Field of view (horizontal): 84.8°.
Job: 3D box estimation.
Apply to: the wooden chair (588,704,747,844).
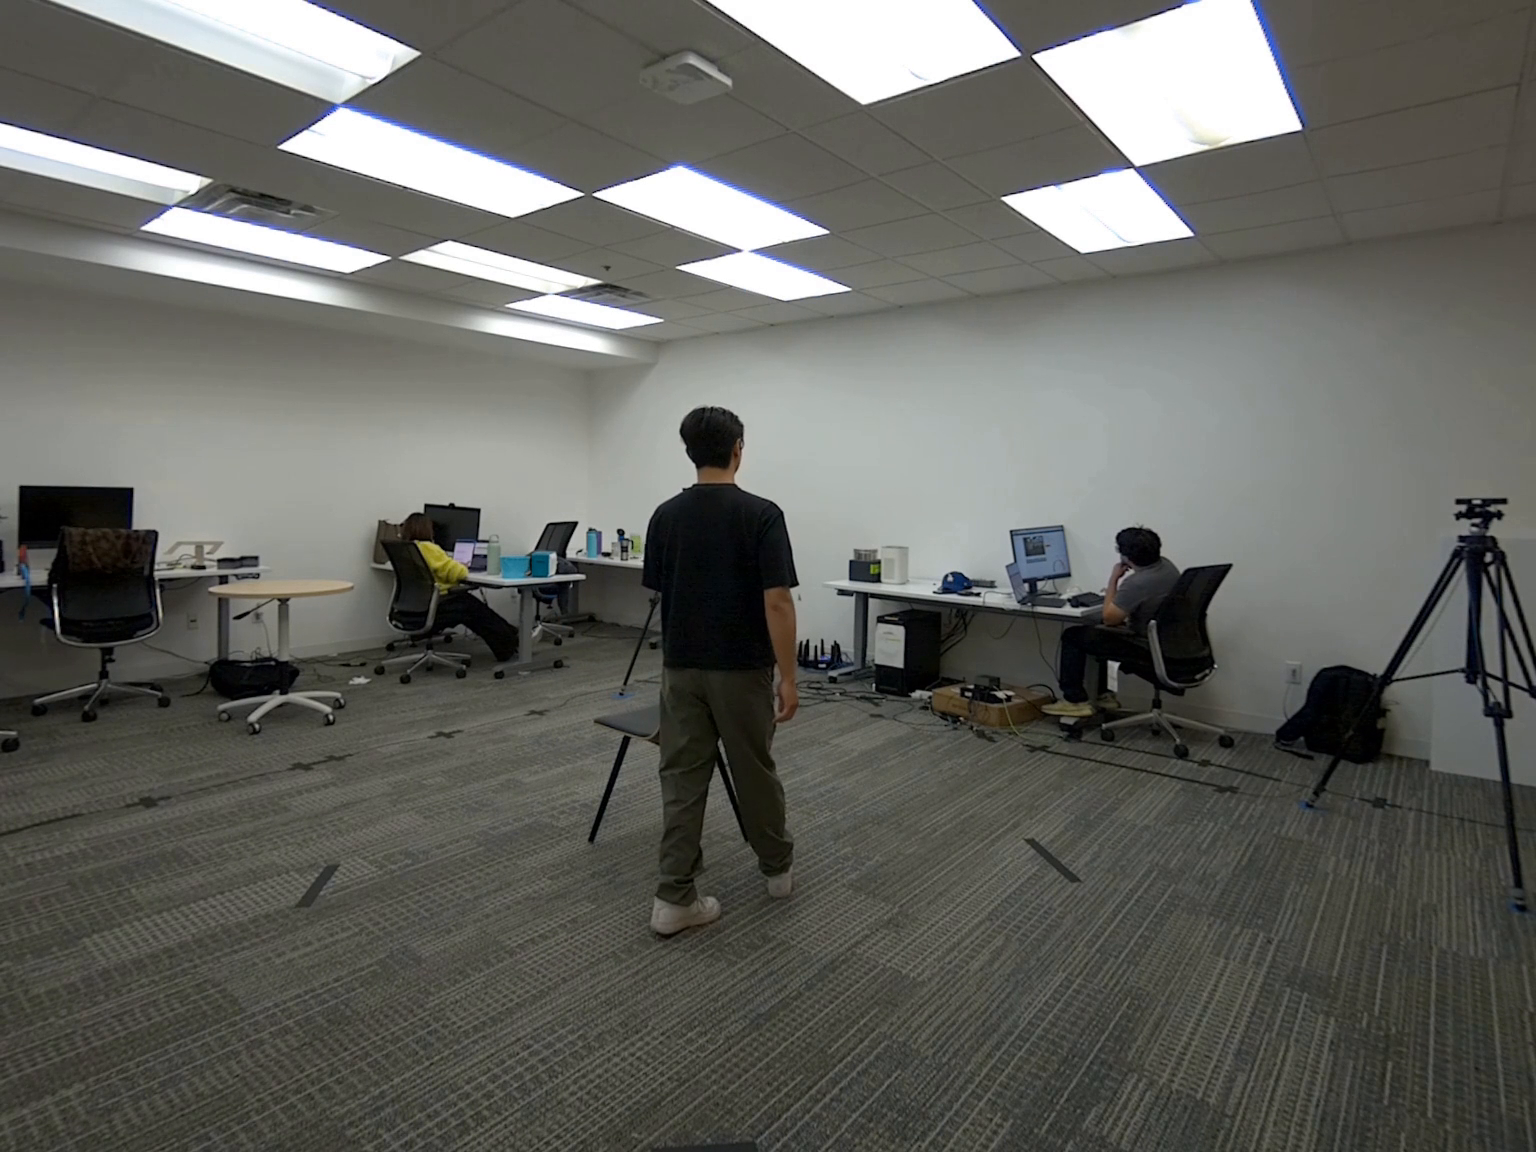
[{"bbox_3d":[-0.396,0.616,3.327,0.542,0.873,0.464,9,8,39],"label":"wooden chair"}]
